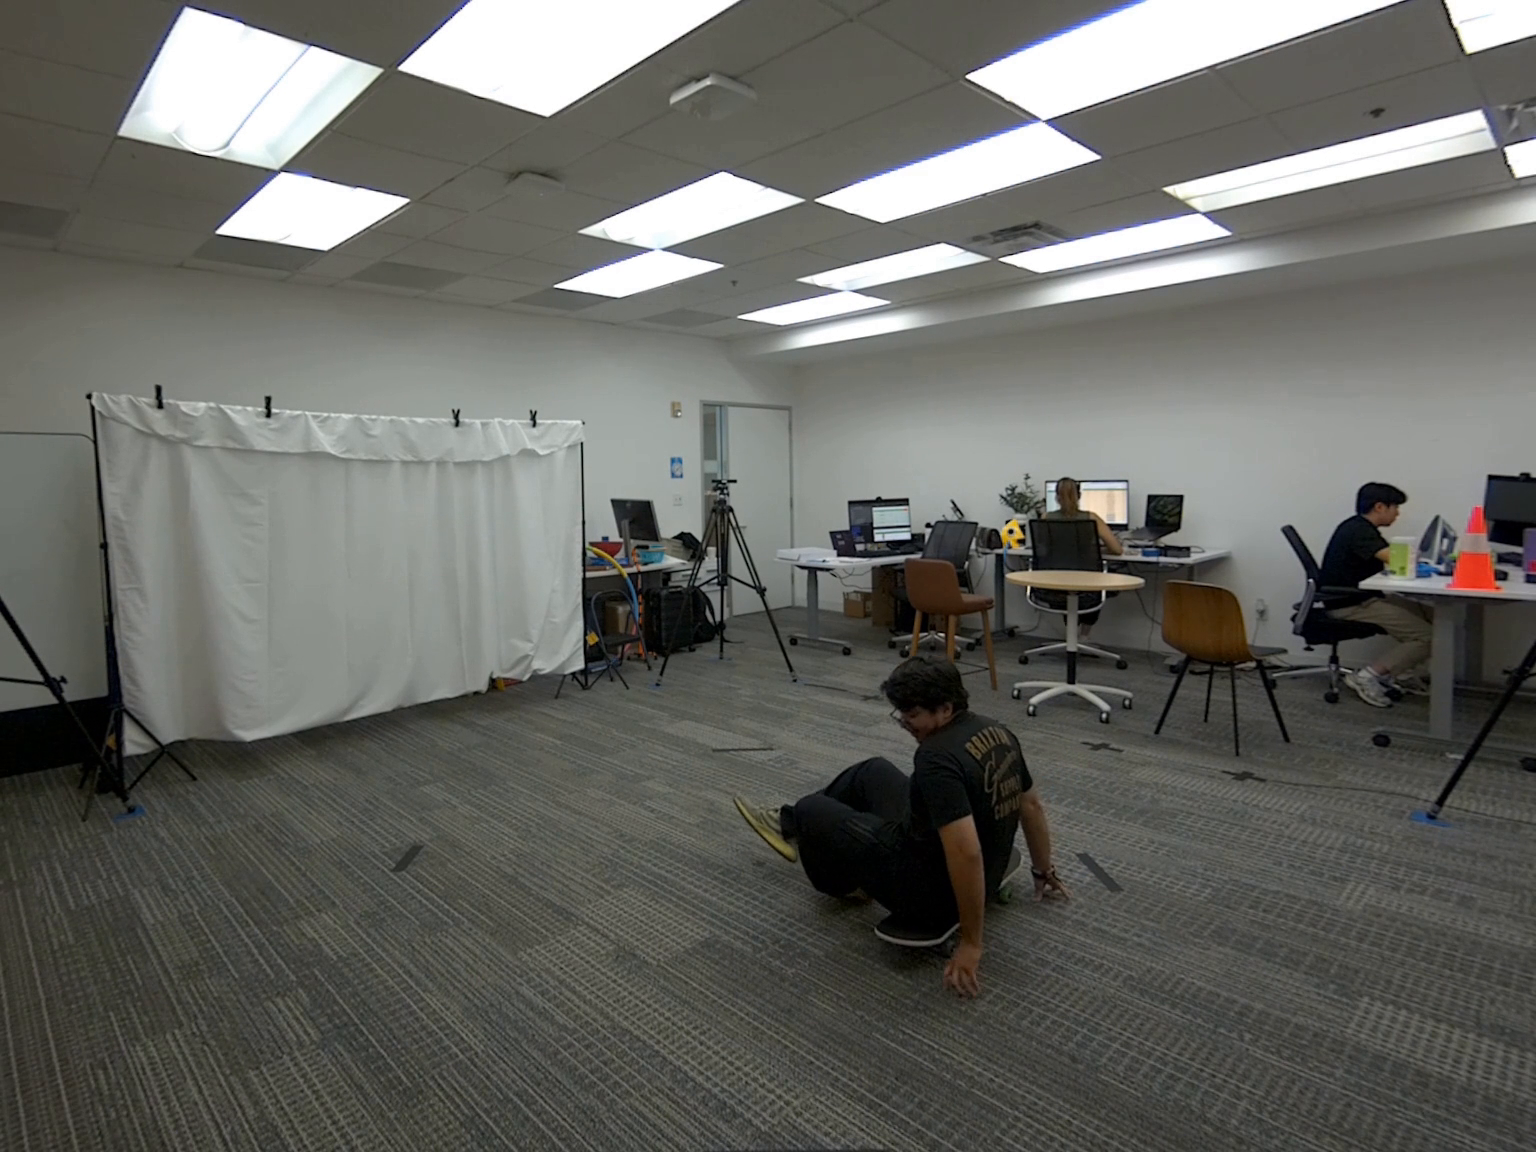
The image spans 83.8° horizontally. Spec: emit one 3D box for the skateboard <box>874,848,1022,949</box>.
[{"bbox_3d":[0.599,1.031,2.693,0.199,0.110,0.766,-1,6,40],"label":"skateboard"}]
